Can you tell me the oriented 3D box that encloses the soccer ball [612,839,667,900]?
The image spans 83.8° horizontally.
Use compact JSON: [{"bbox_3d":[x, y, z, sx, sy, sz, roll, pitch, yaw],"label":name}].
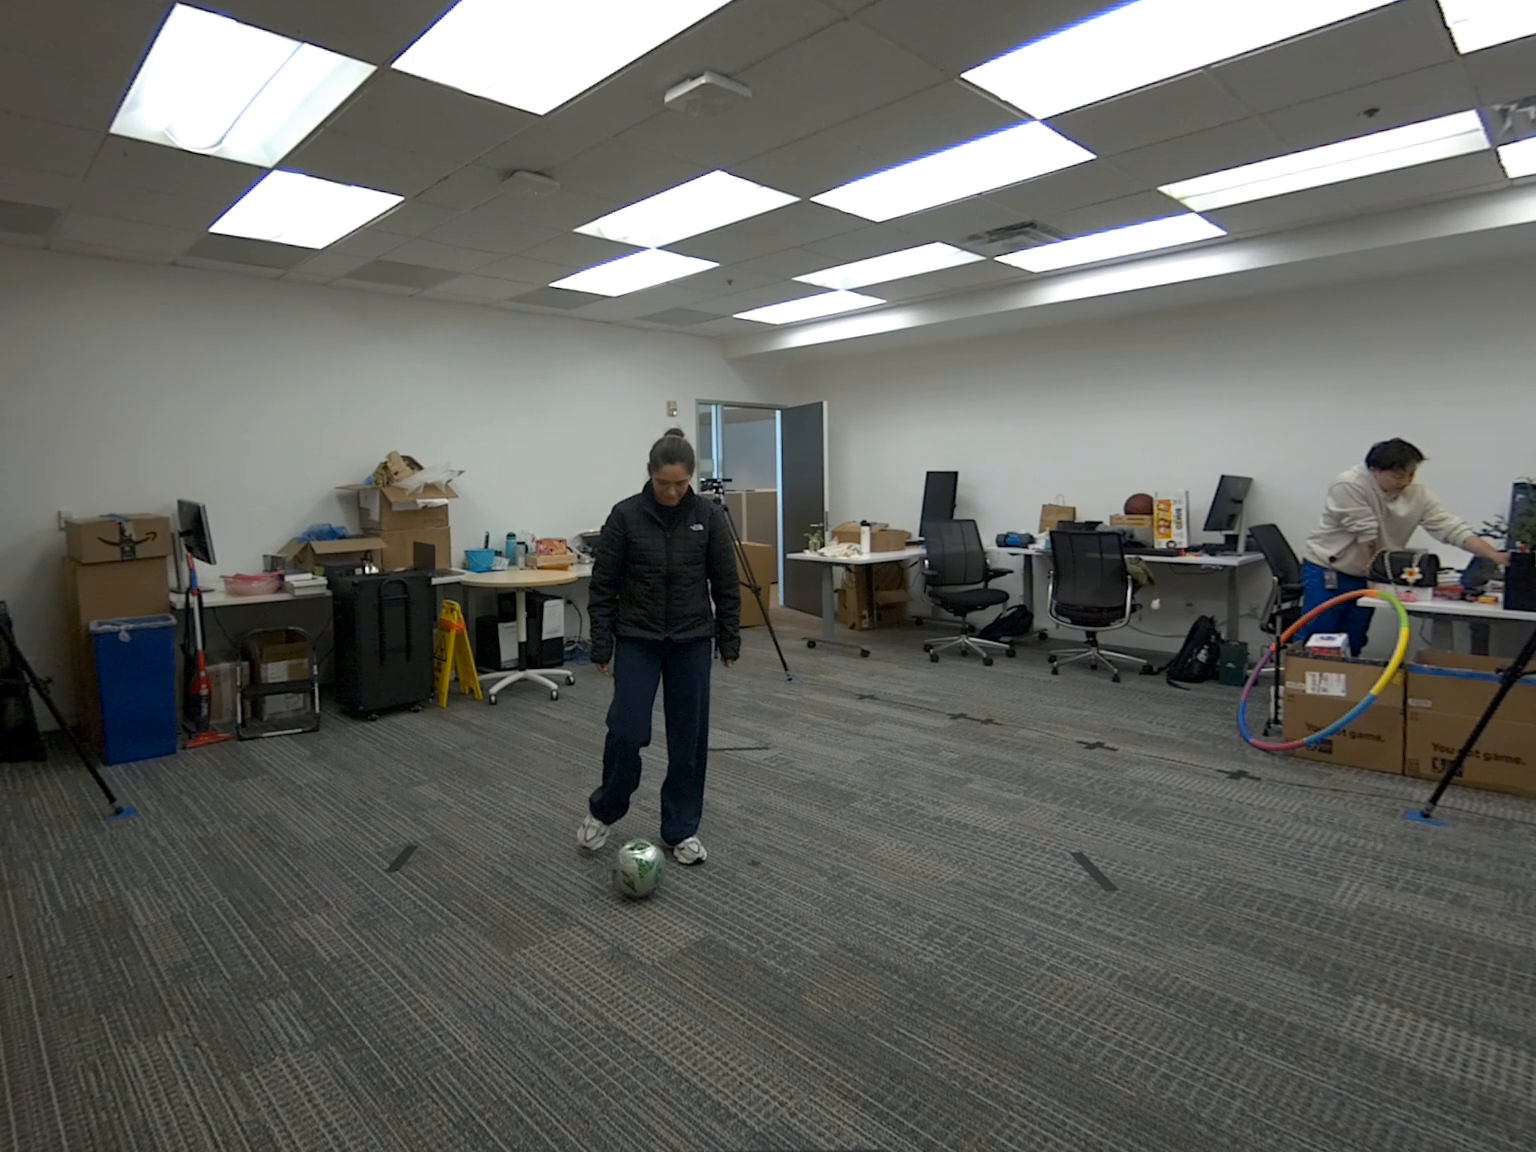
[{"bbox_3d":[-0.432,0.988,2.875,0.187,0.187,0.188,-1,5,-2],"label":"soccer ball"}]
